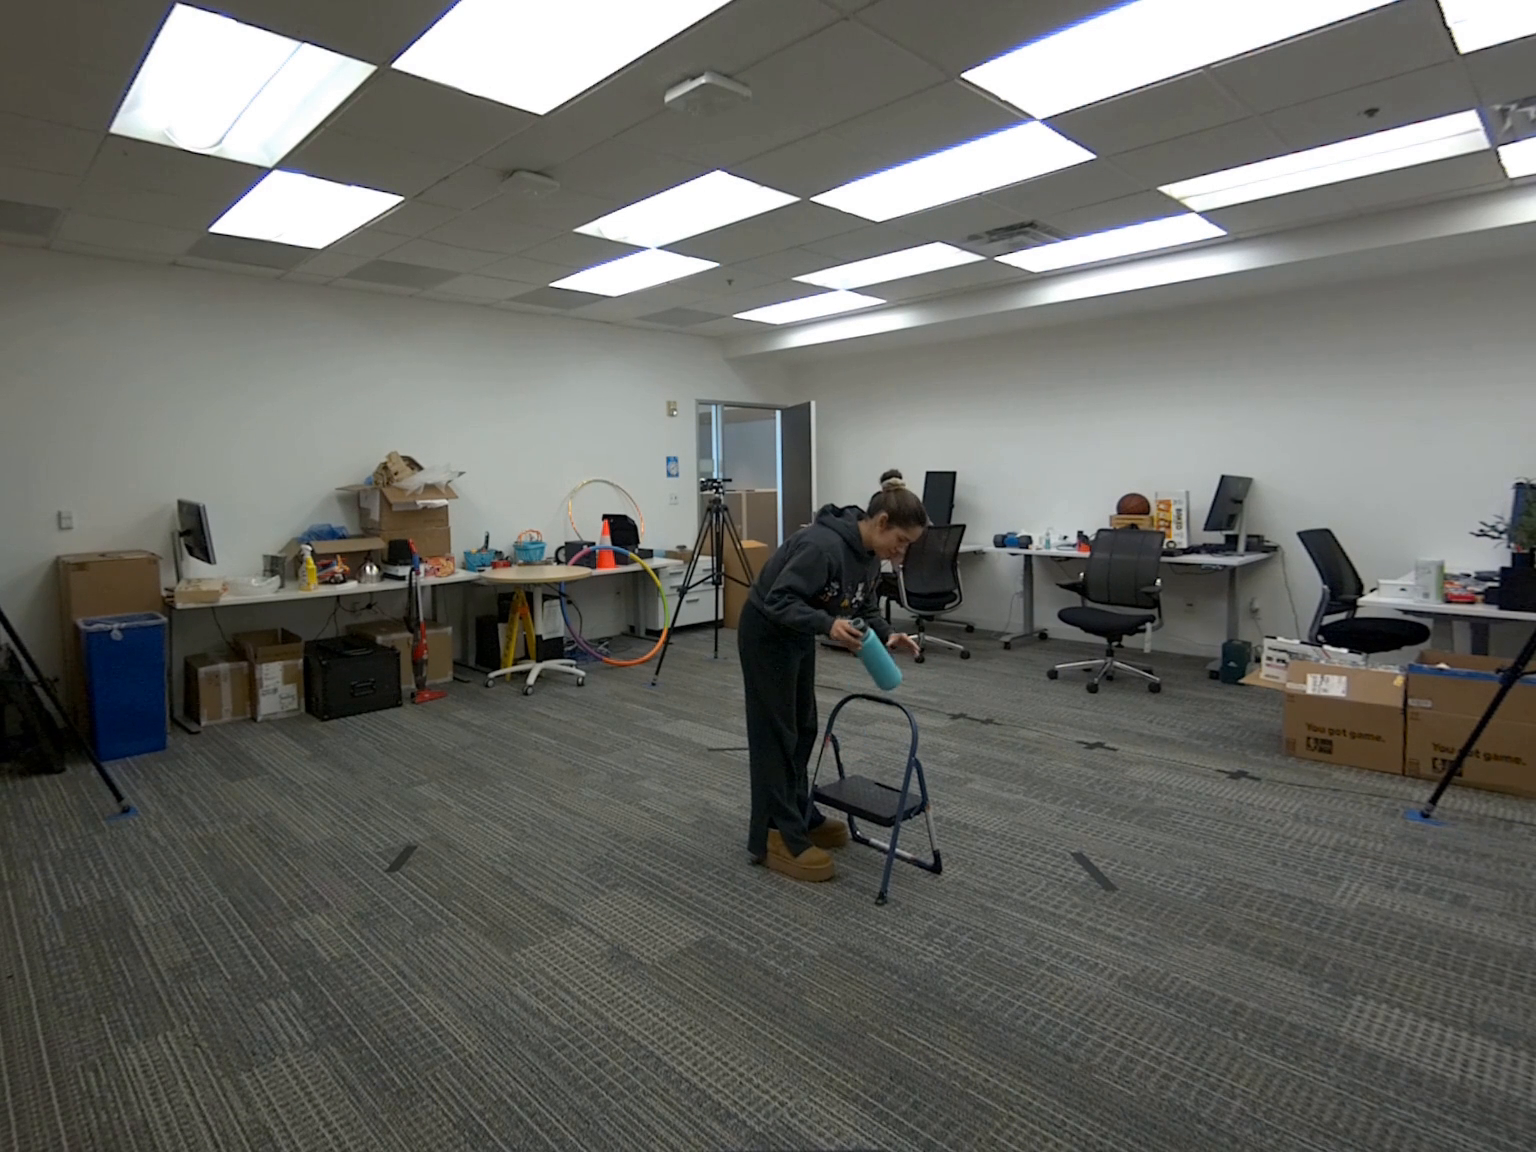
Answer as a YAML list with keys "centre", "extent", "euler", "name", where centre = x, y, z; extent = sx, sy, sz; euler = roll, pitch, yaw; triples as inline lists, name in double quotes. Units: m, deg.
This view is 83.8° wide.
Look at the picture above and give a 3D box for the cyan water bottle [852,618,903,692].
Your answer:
- centre: [0.340, 0.267, 2.834]
  extent: [0.093, 0.275, 0.094]
  euler: [-29, 26, 15]
  name: "cyan water bottle"
